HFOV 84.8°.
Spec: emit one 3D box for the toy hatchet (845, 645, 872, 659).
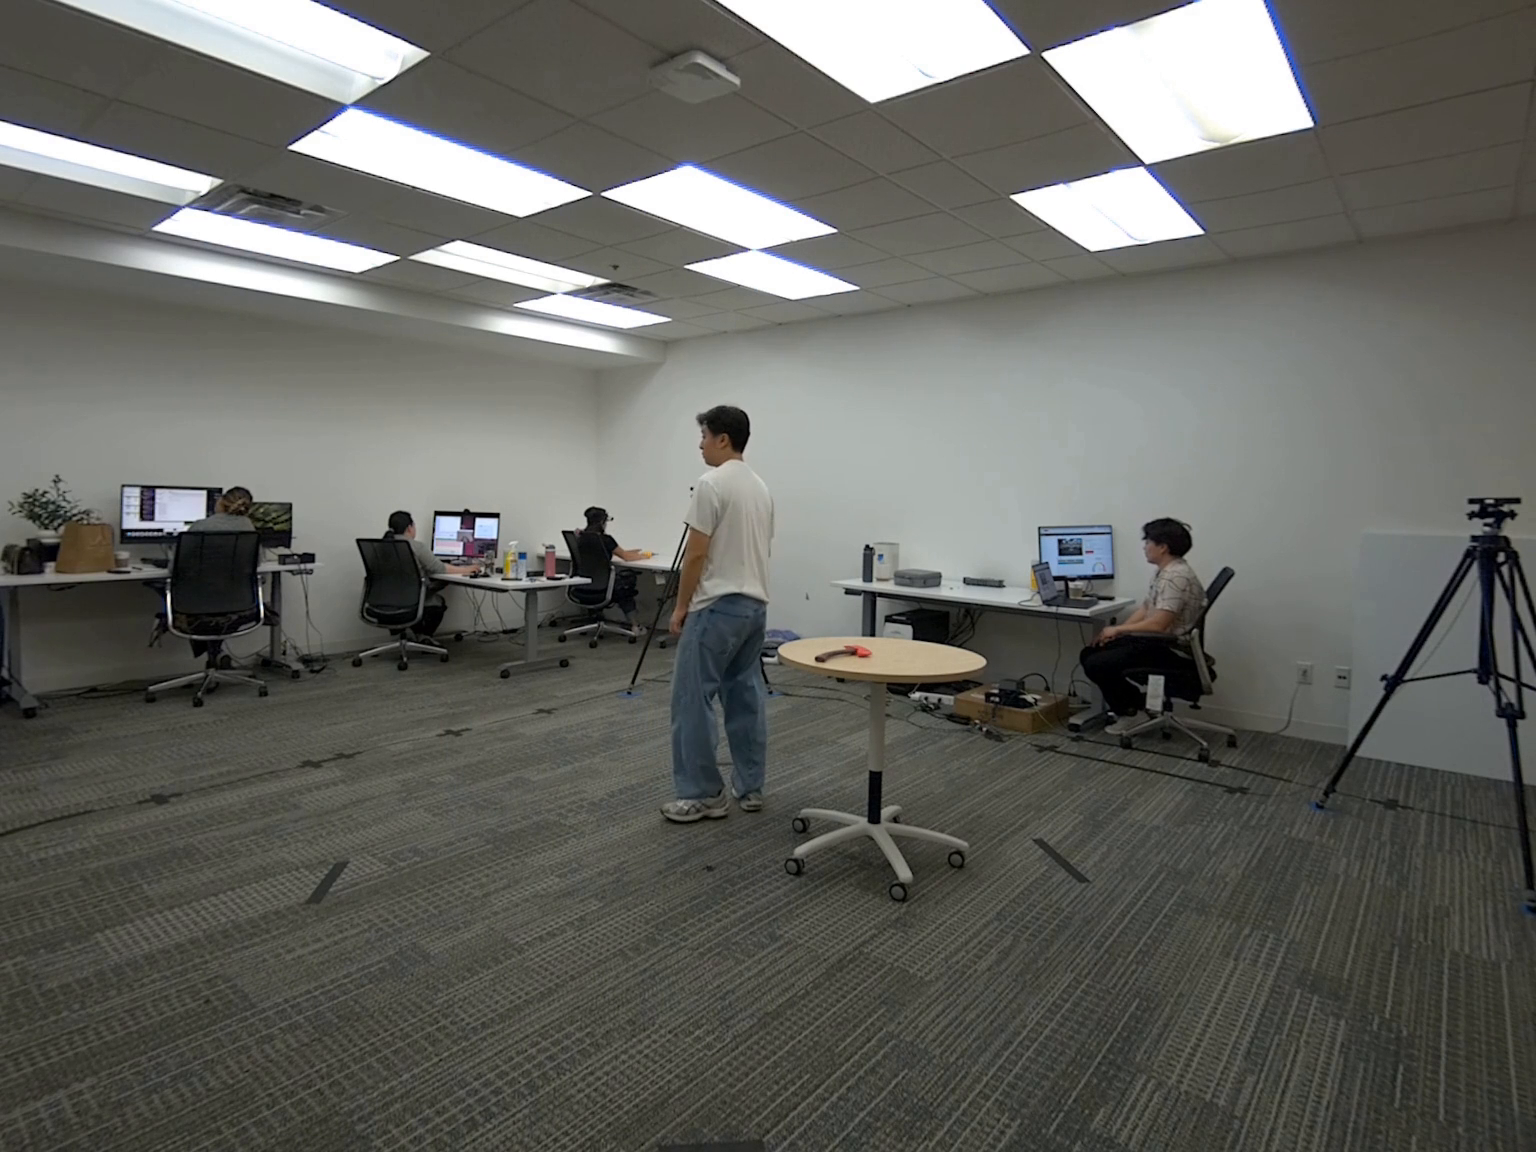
[{"bbox_3d":[0.277,0.285,3.088,0.135,0.029,0.263,8,10,30],"label":"toy hatchet"}]
